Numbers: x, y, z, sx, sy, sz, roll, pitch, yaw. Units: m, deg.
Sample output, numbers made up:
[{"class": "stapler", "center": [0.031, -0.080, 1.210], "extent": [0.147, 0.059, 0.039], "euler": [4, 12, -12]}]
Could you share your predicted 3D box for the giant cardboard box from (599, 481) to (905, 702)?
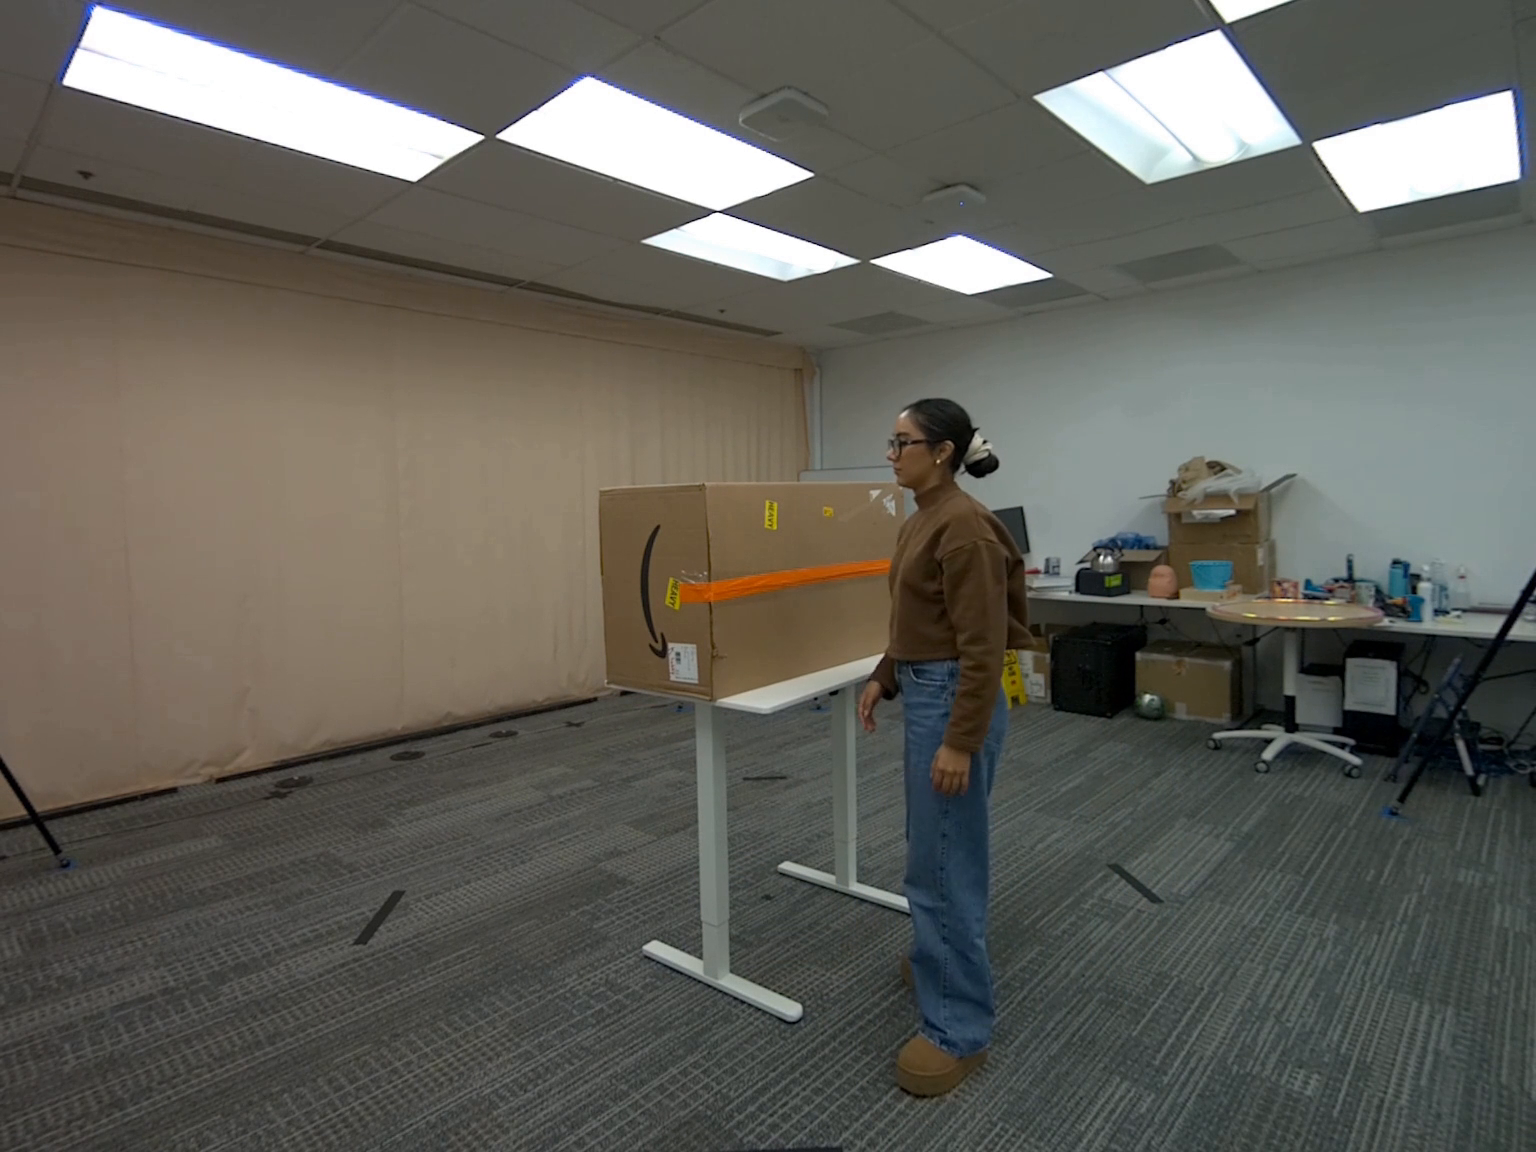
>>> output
[{"class": "giant cardboard box", "center": [-0.001, 0.001, 2.699], "extent": [0.440, 0.576, 0.995], "euler": [0, 5, 40]}]
